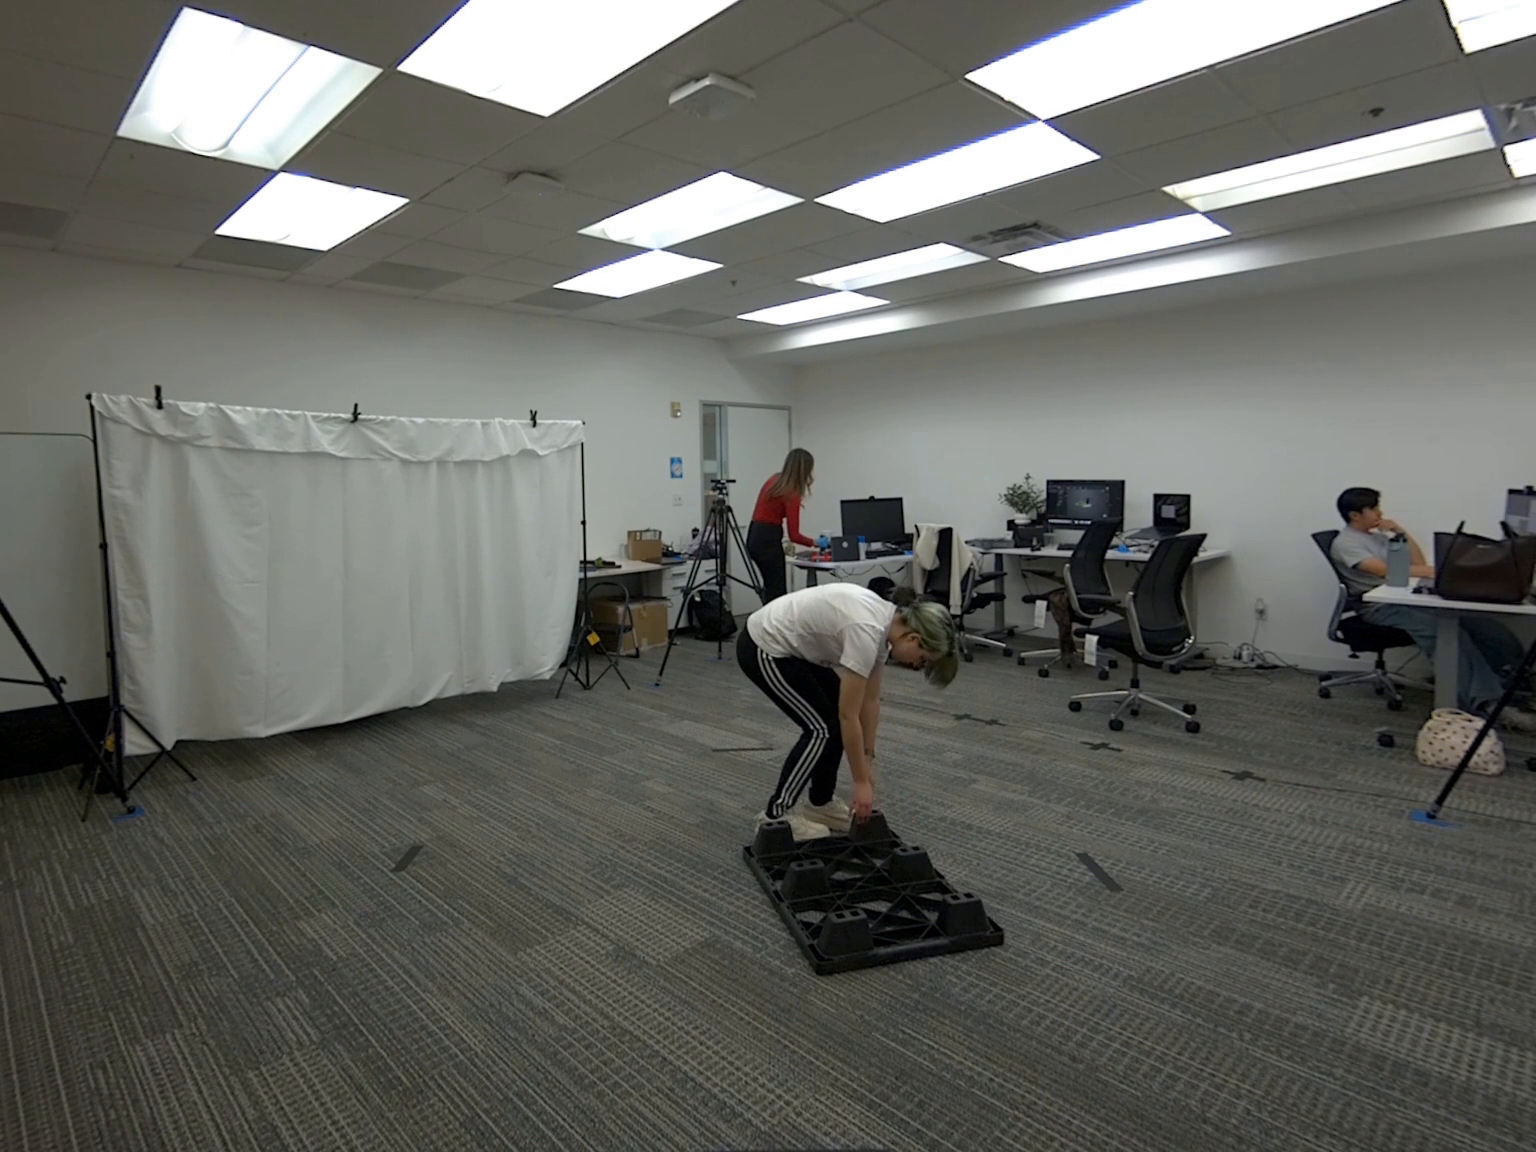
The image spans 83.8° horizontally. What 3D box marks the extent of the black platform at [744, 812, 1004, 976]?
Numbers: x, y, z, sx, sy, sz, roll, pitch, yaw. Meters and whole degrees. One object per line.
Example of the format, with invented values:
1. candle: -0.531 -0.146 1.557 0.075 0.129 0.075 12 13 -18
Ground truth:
1. black platform: 0.311 0.999 2.851 0.596 0.142 0.821 -3 7 -16
